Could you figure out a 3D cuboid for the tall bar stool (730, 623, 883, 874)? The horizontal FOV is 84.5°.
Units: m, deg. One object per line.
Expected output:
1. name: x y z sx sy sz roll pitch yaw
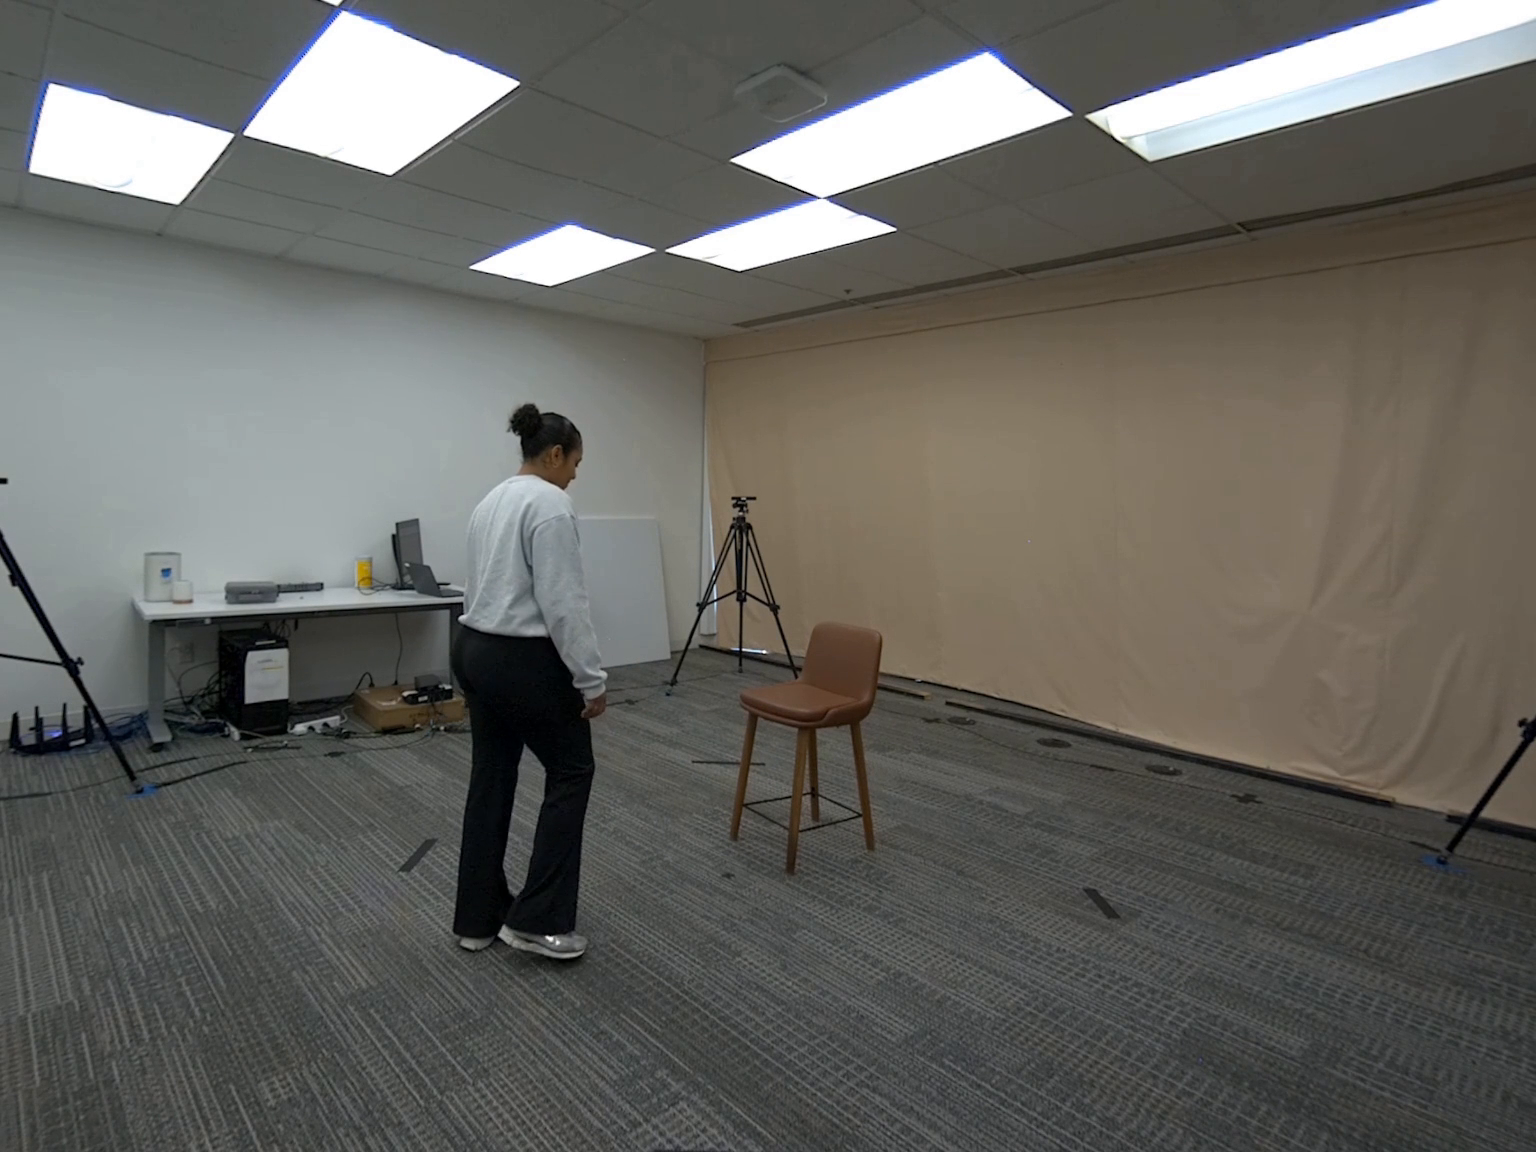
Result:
1. tall bar stool: 0.152 0.653 3.392 0.457 0.889 0.467 2 2 -35
